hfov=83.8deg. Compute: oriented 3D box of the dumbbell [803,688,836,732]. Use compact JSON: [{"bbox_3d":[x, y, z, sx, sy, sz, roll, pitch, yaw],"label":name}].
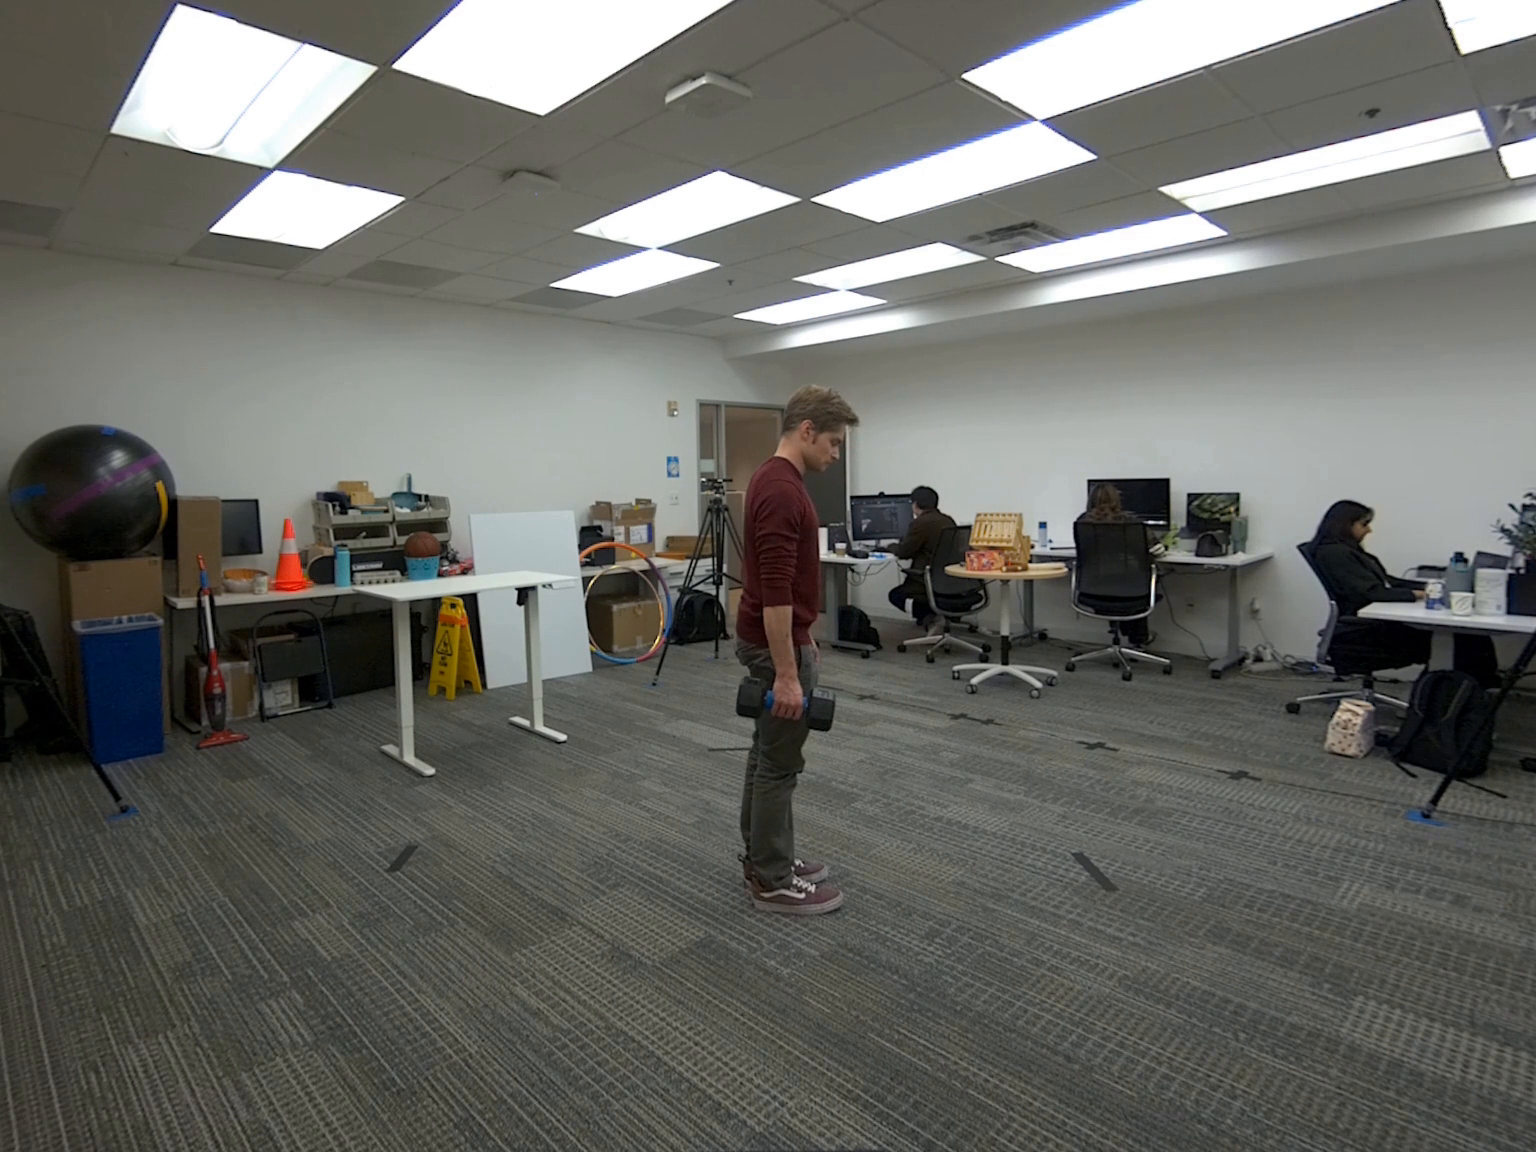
[{"bbox_3d":[0.067,0.383,2.572,0.296,0.124,0.106,6,-16,8],"label":"dumbbell"}]
